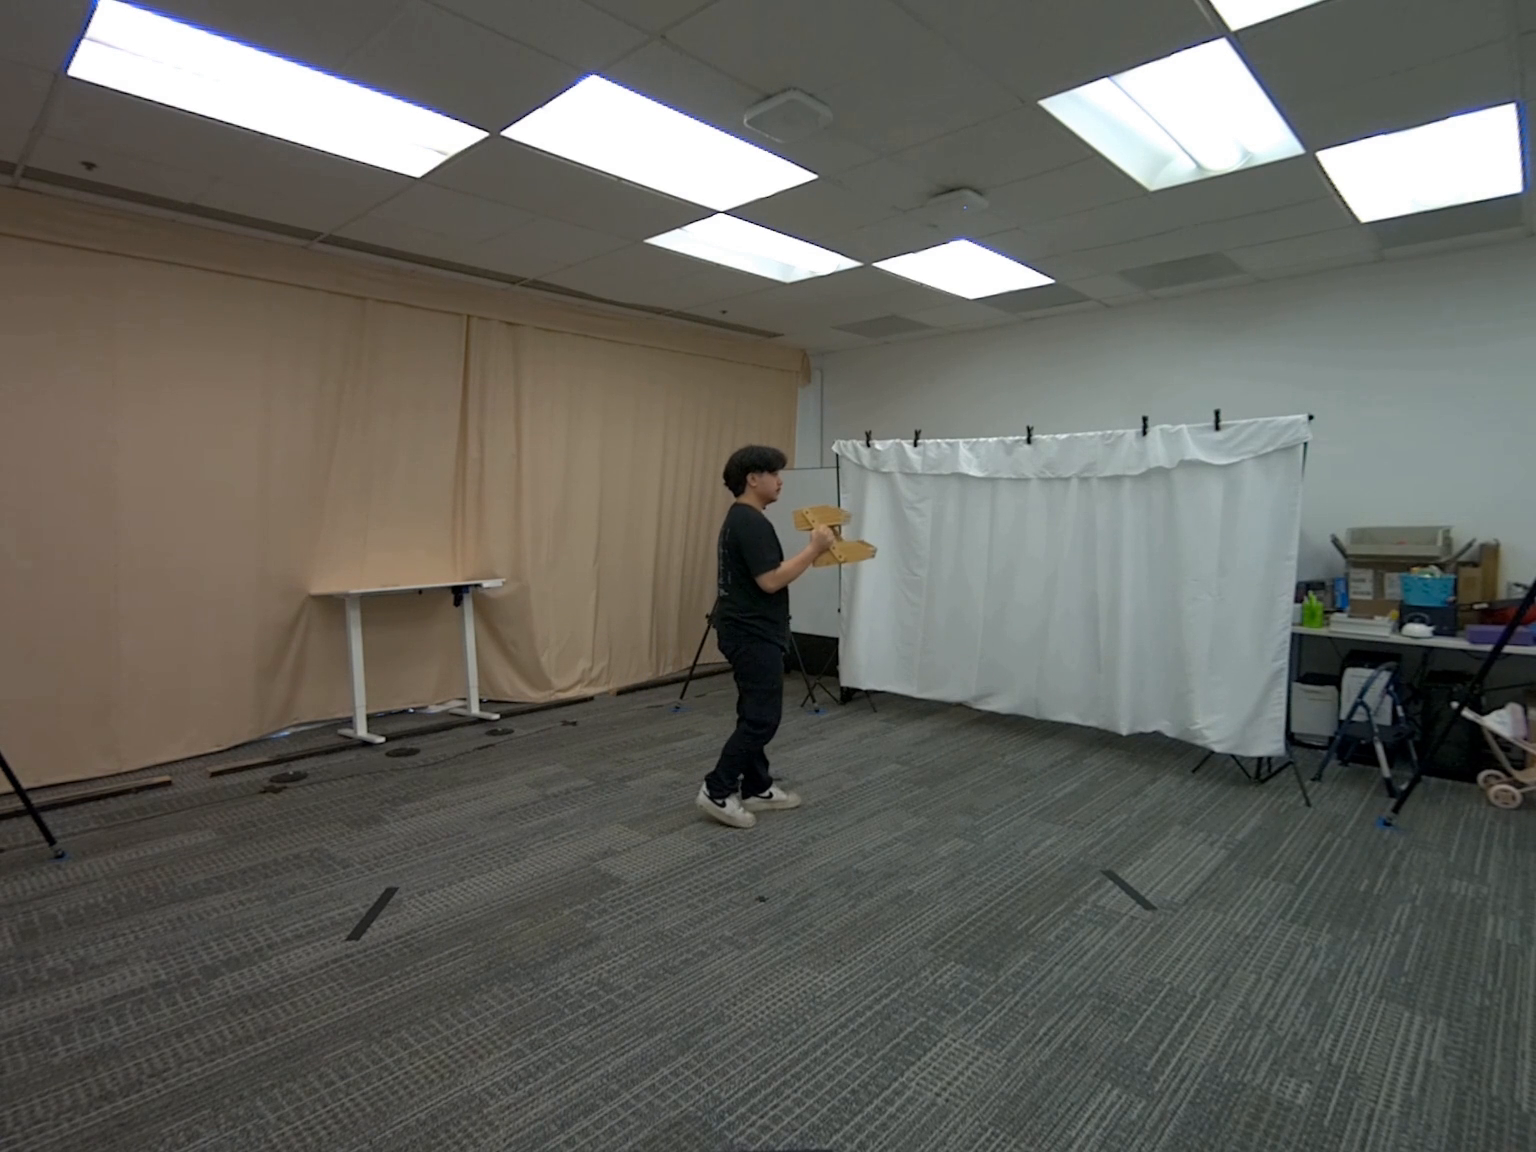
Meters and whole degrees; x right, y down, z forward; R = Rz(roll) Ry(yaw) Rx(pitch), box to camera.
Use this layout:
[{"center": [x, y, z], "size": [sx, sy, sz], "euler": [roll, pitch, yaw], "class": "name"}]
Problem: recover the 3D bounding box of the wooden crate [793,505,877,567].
[{"center": [0.292, -0.190, 3.761], "size": [0.305, 0.273, 0.320], "euler": [-10, 0, 11], "class": "wooden crate"}]
